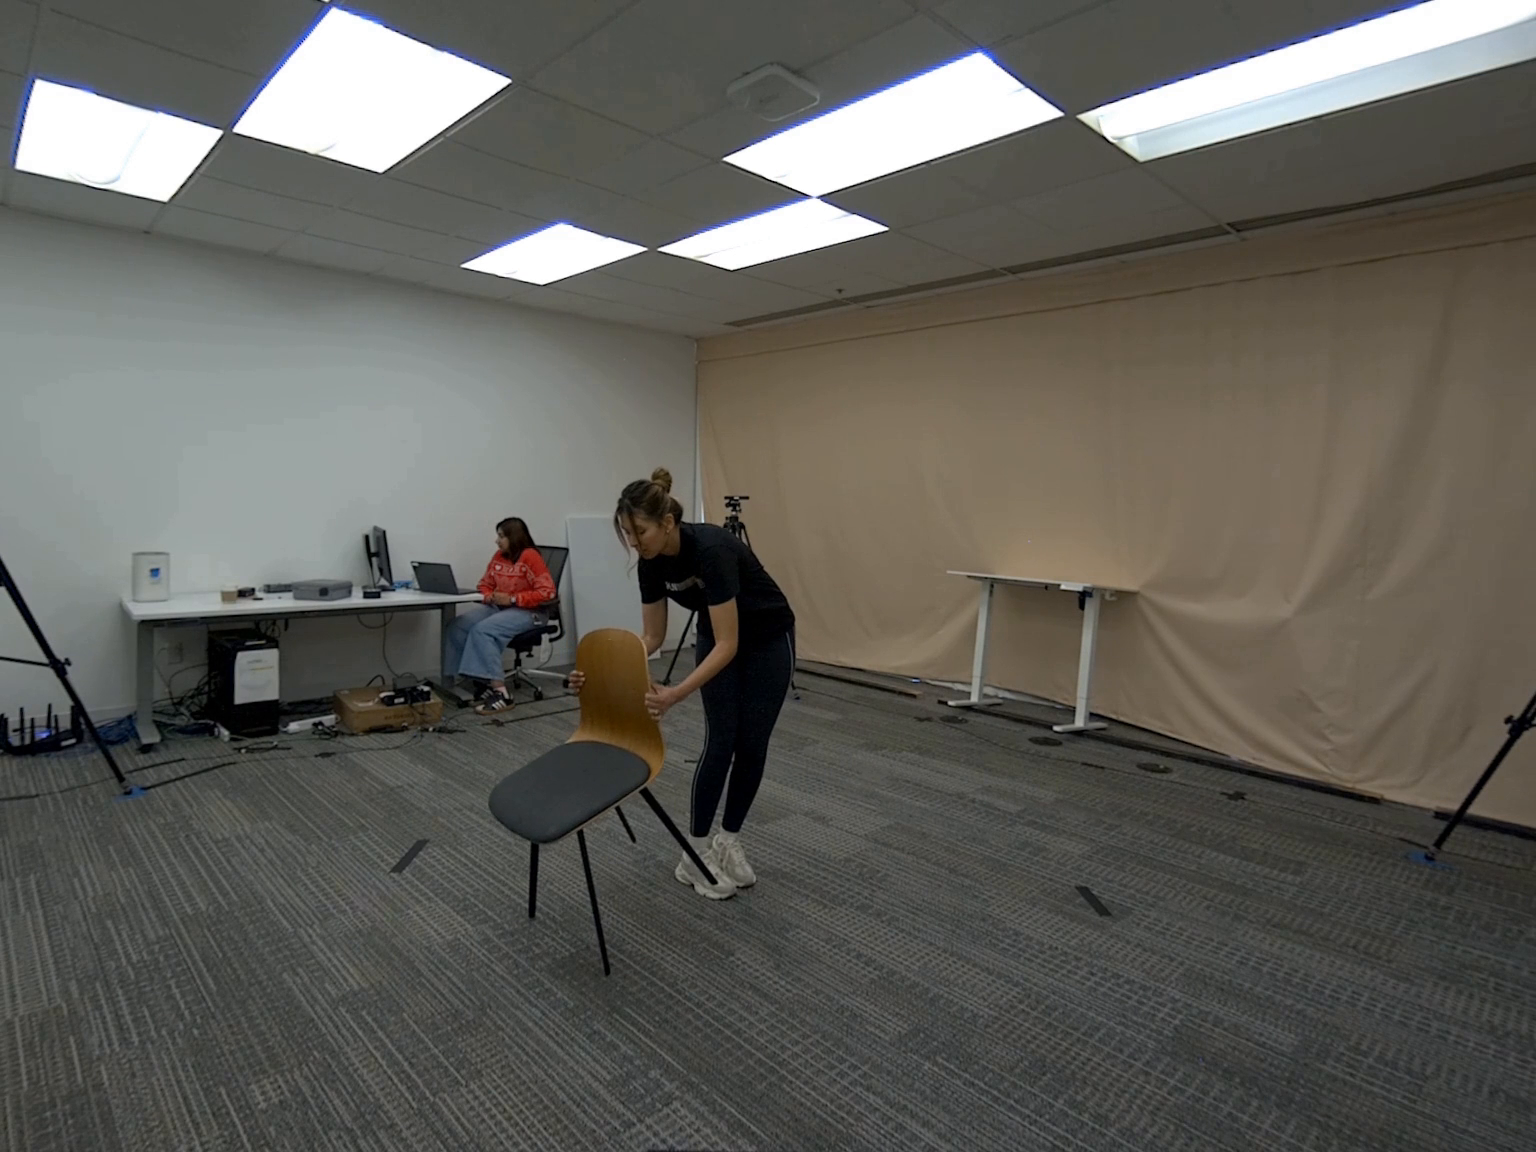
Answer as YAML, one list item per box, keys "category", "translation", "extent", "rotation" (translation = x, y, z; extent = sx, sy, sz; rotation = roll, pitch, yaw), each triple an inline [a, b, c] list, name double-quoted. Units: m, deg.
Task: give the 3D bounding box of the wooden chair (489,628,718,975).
- category: "wooden chair"
  translation: [-0.568, 0.669, 2.607]
  extent: [0.516, 0.867, 0.490]
  rotation: [-21, 18, -41]
